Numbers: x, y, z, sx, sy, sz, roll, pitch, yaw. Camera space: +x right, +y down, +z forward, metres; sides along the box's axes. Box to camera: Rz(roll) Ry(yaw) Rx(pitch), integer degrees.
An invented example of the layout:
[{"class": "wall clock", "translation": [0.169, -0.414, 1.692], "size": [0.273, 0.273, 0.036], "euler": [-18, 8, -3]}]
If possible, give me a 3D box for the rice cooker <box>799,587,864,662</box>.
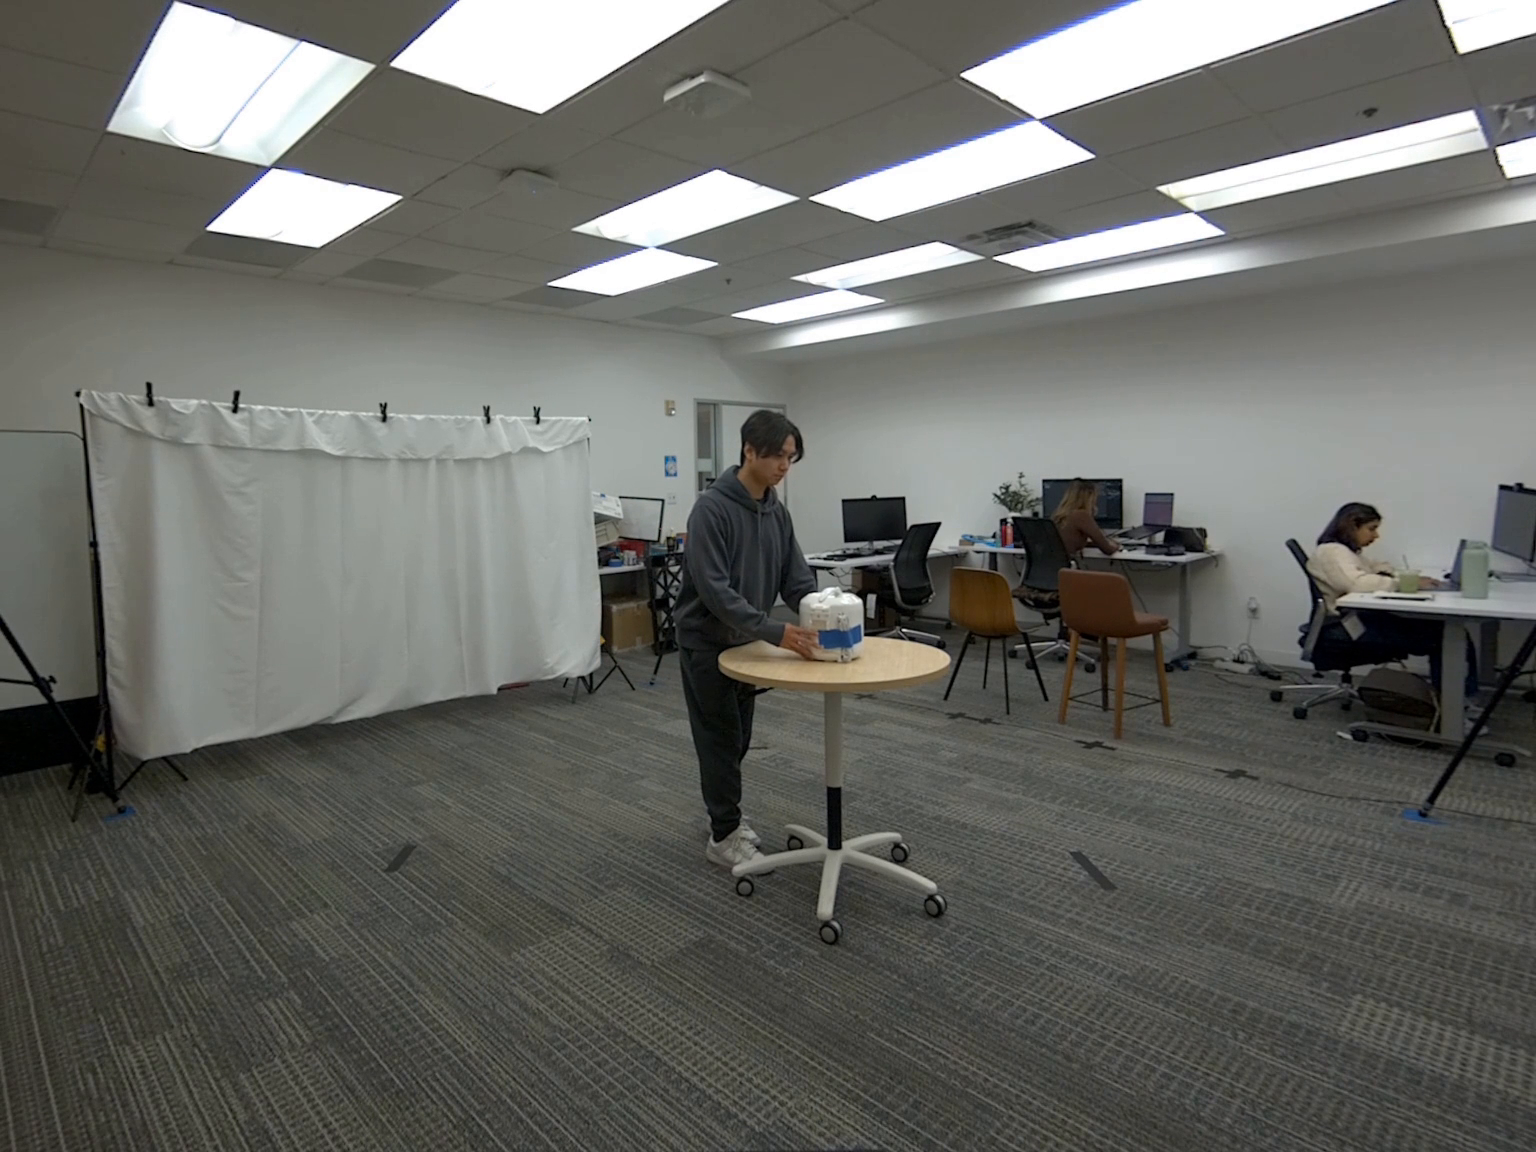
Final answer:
[{"class": "rice cooker", "translation": [0.206, 0.155, 2.837], "size": [0.223, 0.232, 0.216], "euler": [2, 5, 27]}]
